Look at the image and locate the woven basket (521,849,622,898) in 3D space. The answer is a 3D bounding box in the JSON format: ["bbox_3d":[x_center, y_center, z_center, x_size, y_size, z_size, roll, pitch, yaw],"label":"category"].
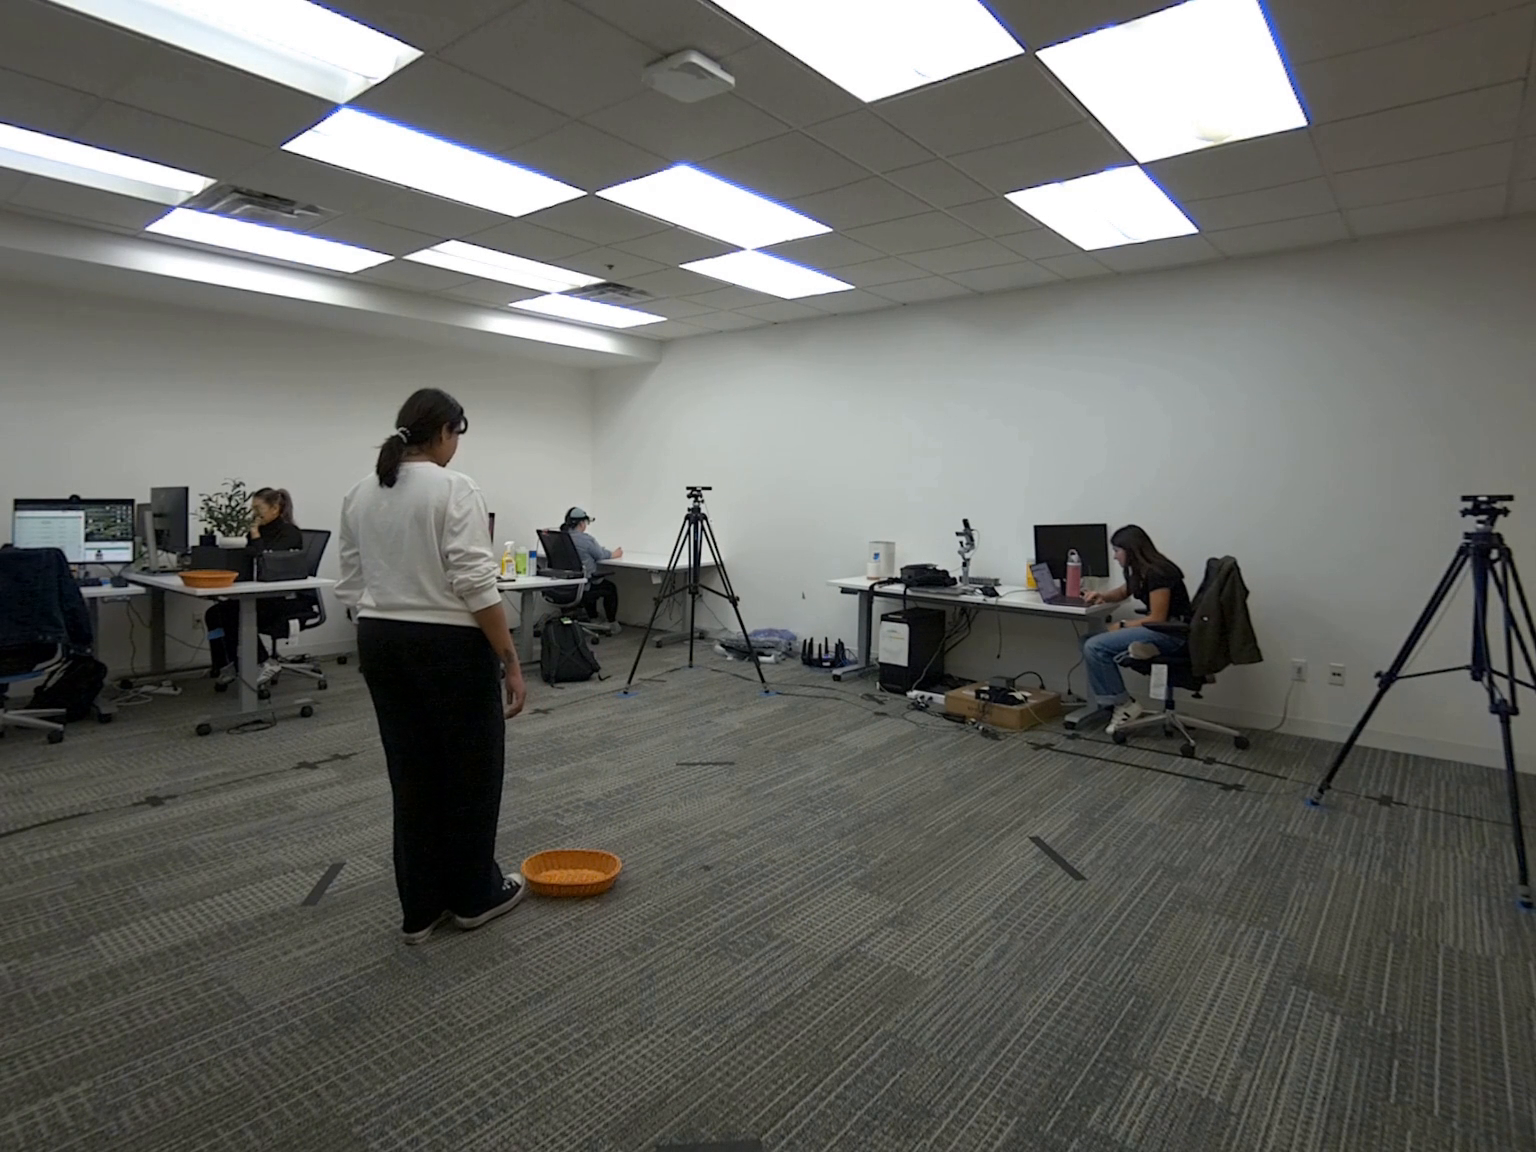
[{"bbox_3d":[-0.676,1.034,2.959,0.352,0.073,0.253,2,7,2],"label":"woven basket"}]
